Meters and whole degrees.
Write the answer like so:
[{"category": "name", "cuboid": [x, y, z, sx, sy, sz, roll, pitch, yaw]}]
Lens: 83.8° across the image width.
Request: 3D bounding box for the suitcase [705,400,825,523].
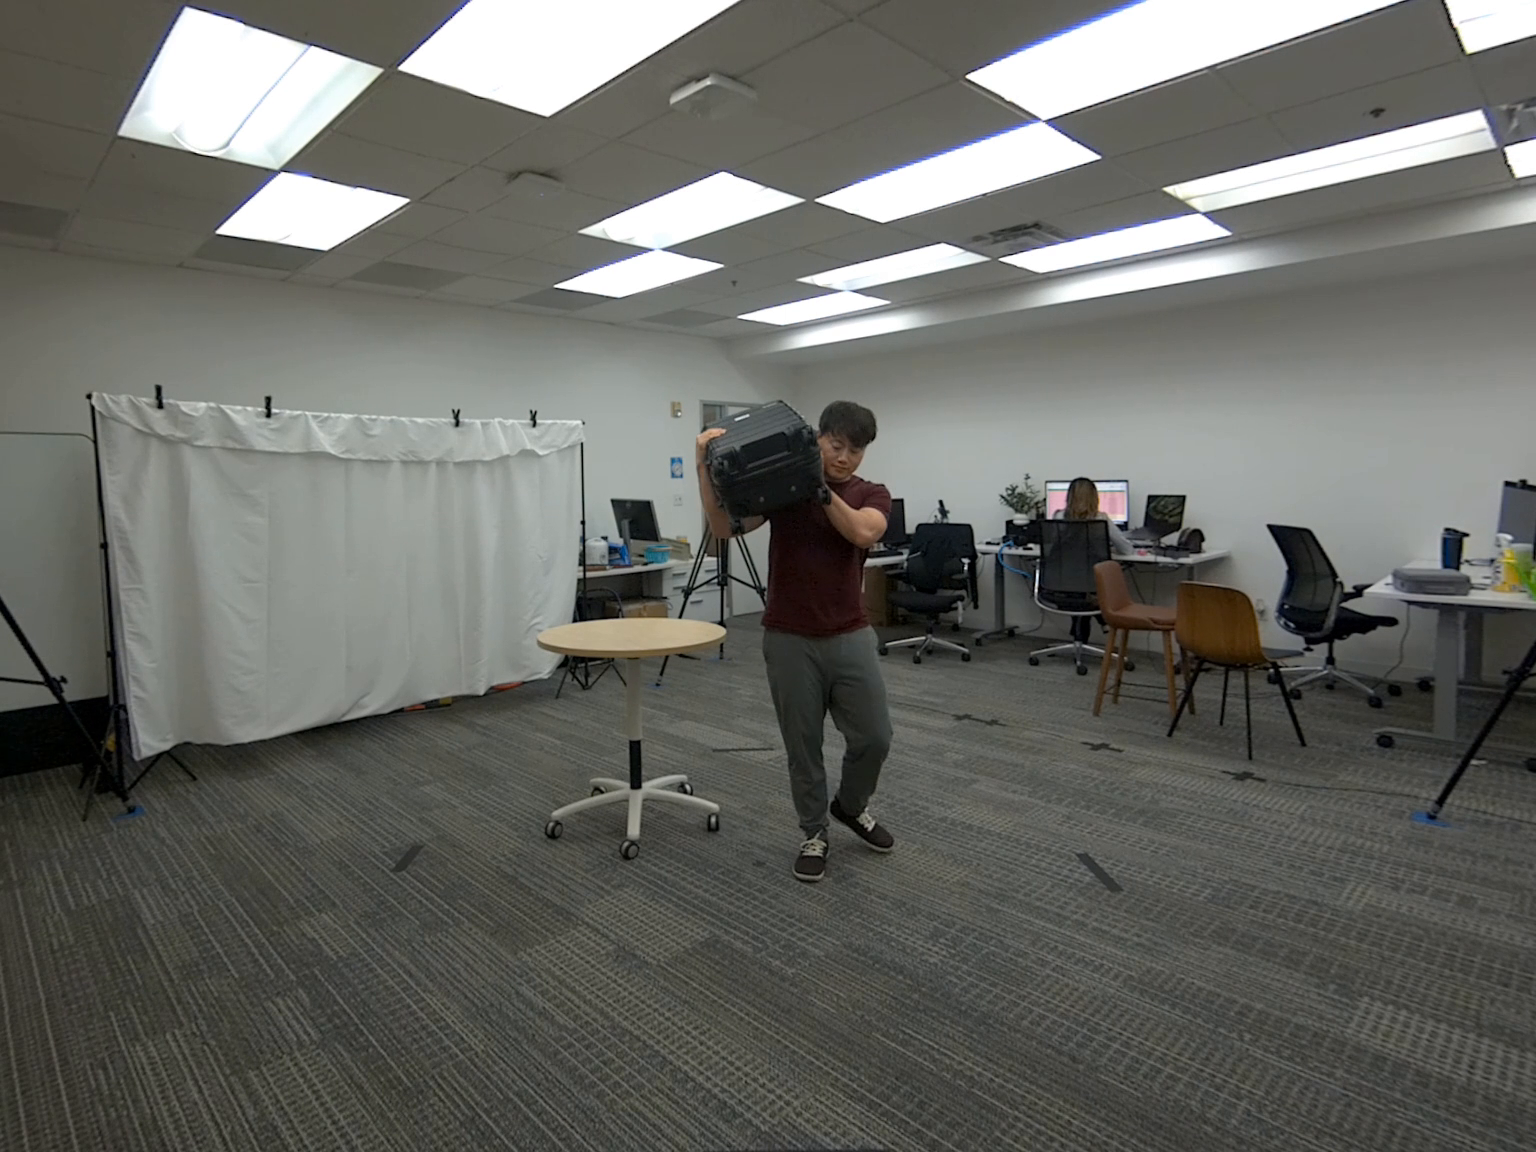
[{"category": "suitcase", "cuboid": [-0.064, -0.482, 3.092, 0.383, 0.251, 1.004, -21, 24, -2]}]
